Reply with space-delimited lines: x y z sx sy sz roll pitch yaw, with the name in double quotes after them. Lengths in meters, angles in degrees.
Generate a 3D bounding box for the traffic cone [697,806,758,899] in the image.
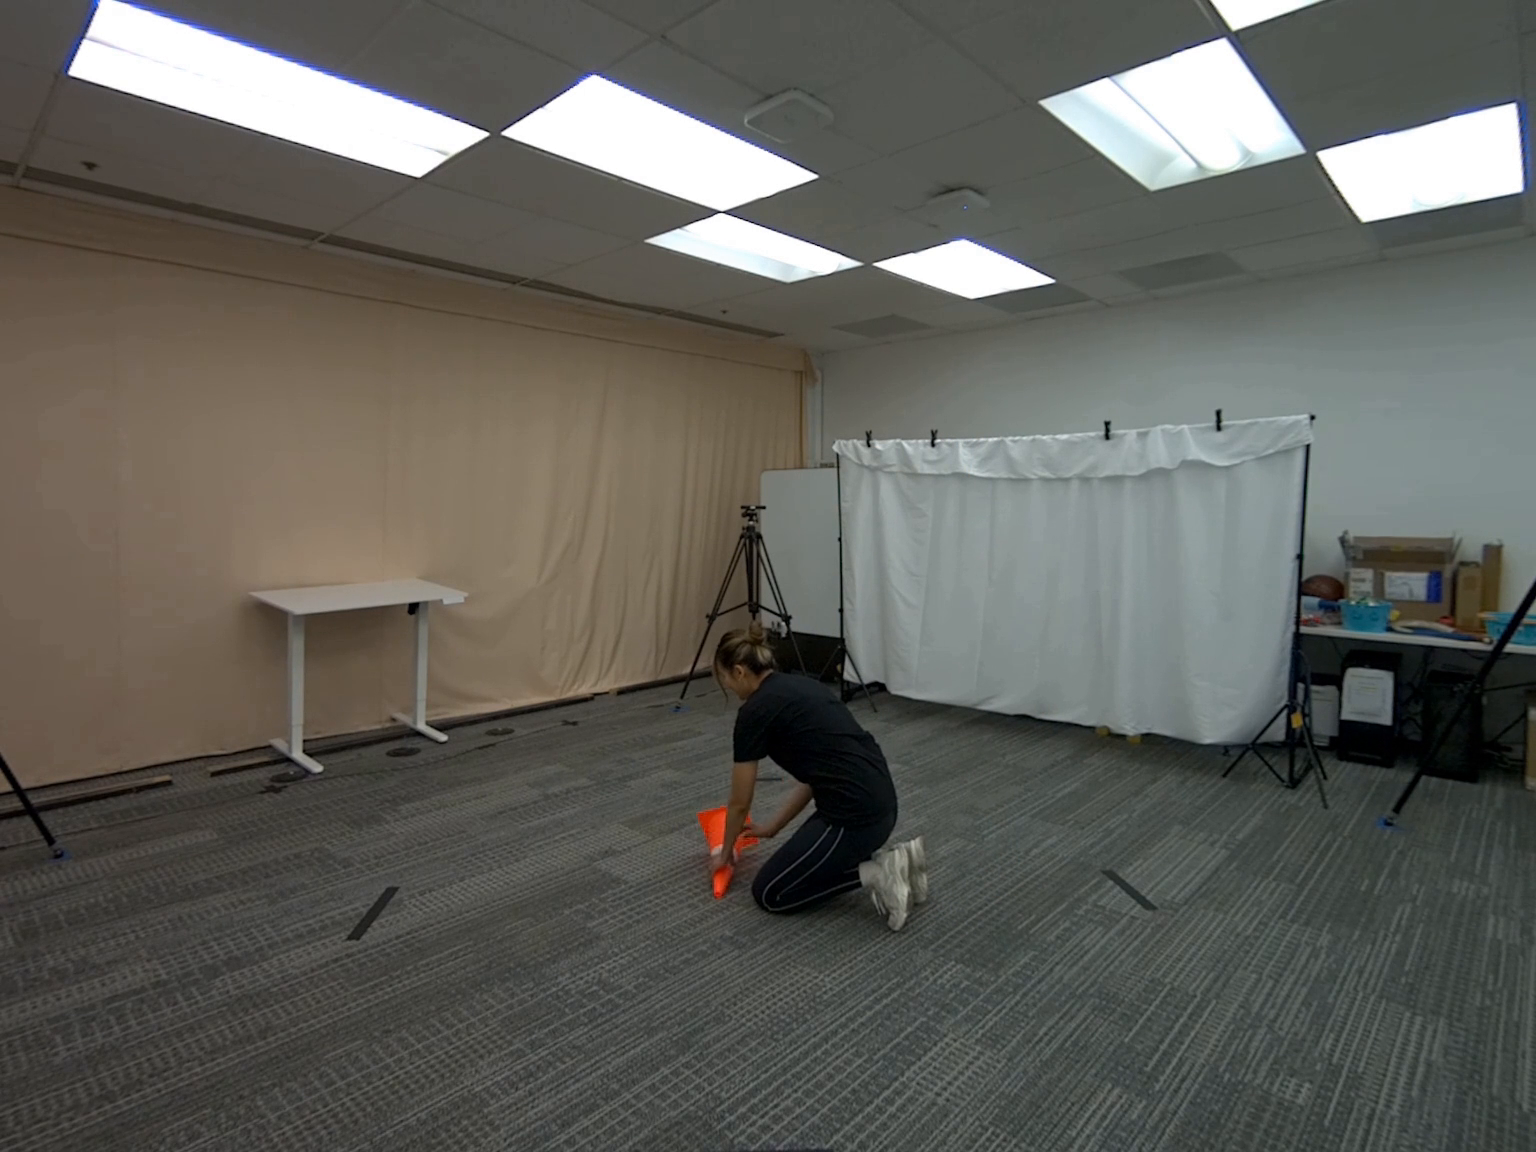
-0.171 1.073 3.164 0.206 0.200 0.387 -16 20 8 "traffic cone"
